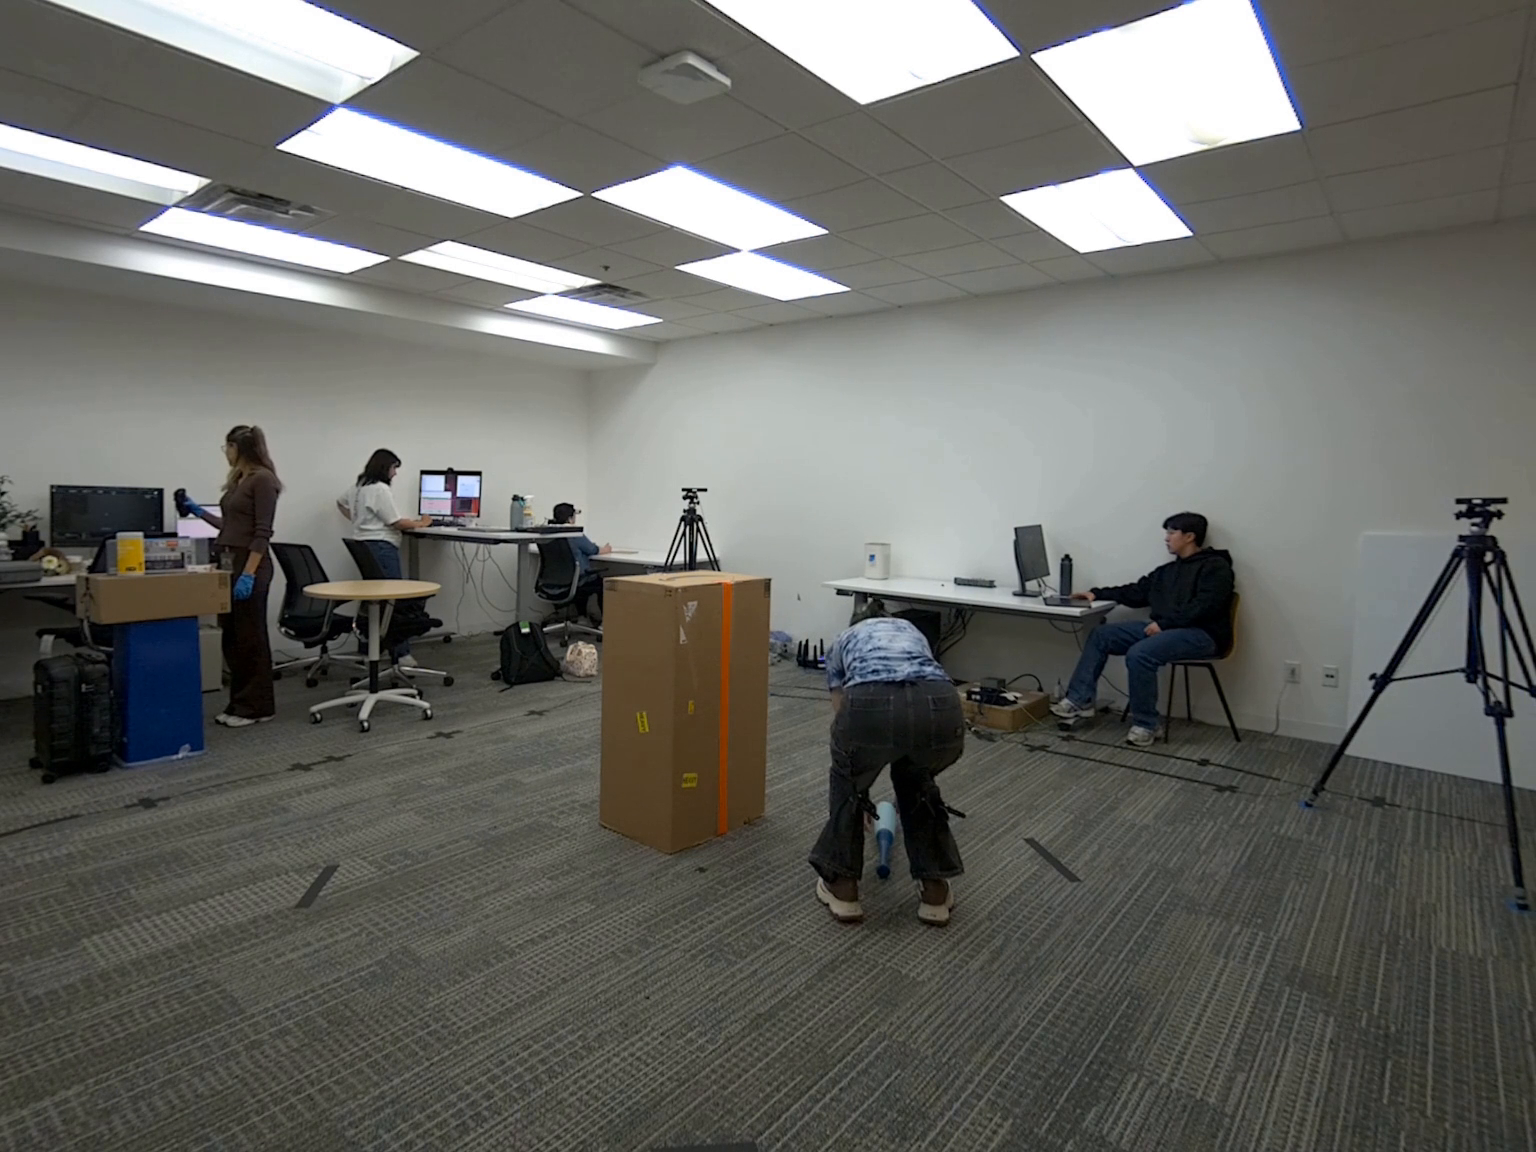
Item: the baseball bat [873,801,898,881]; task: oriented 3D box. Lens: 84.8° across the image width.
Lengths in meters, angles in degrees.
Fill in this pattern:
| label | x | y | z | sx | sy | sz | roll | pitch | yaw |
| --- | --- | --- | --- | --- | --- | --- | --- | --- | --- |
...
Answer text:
| label | x | y | z | sx | sy | sz | roll | pitch | yaw |
| --- | --- | --- | --- | --- | --- | --- | --- | --- | --- |
| baseball bat | 0.448 | 1.027 | 3.322 | 0.090 | 0.088 | 0.541 | 1 | 9 | 8 |
